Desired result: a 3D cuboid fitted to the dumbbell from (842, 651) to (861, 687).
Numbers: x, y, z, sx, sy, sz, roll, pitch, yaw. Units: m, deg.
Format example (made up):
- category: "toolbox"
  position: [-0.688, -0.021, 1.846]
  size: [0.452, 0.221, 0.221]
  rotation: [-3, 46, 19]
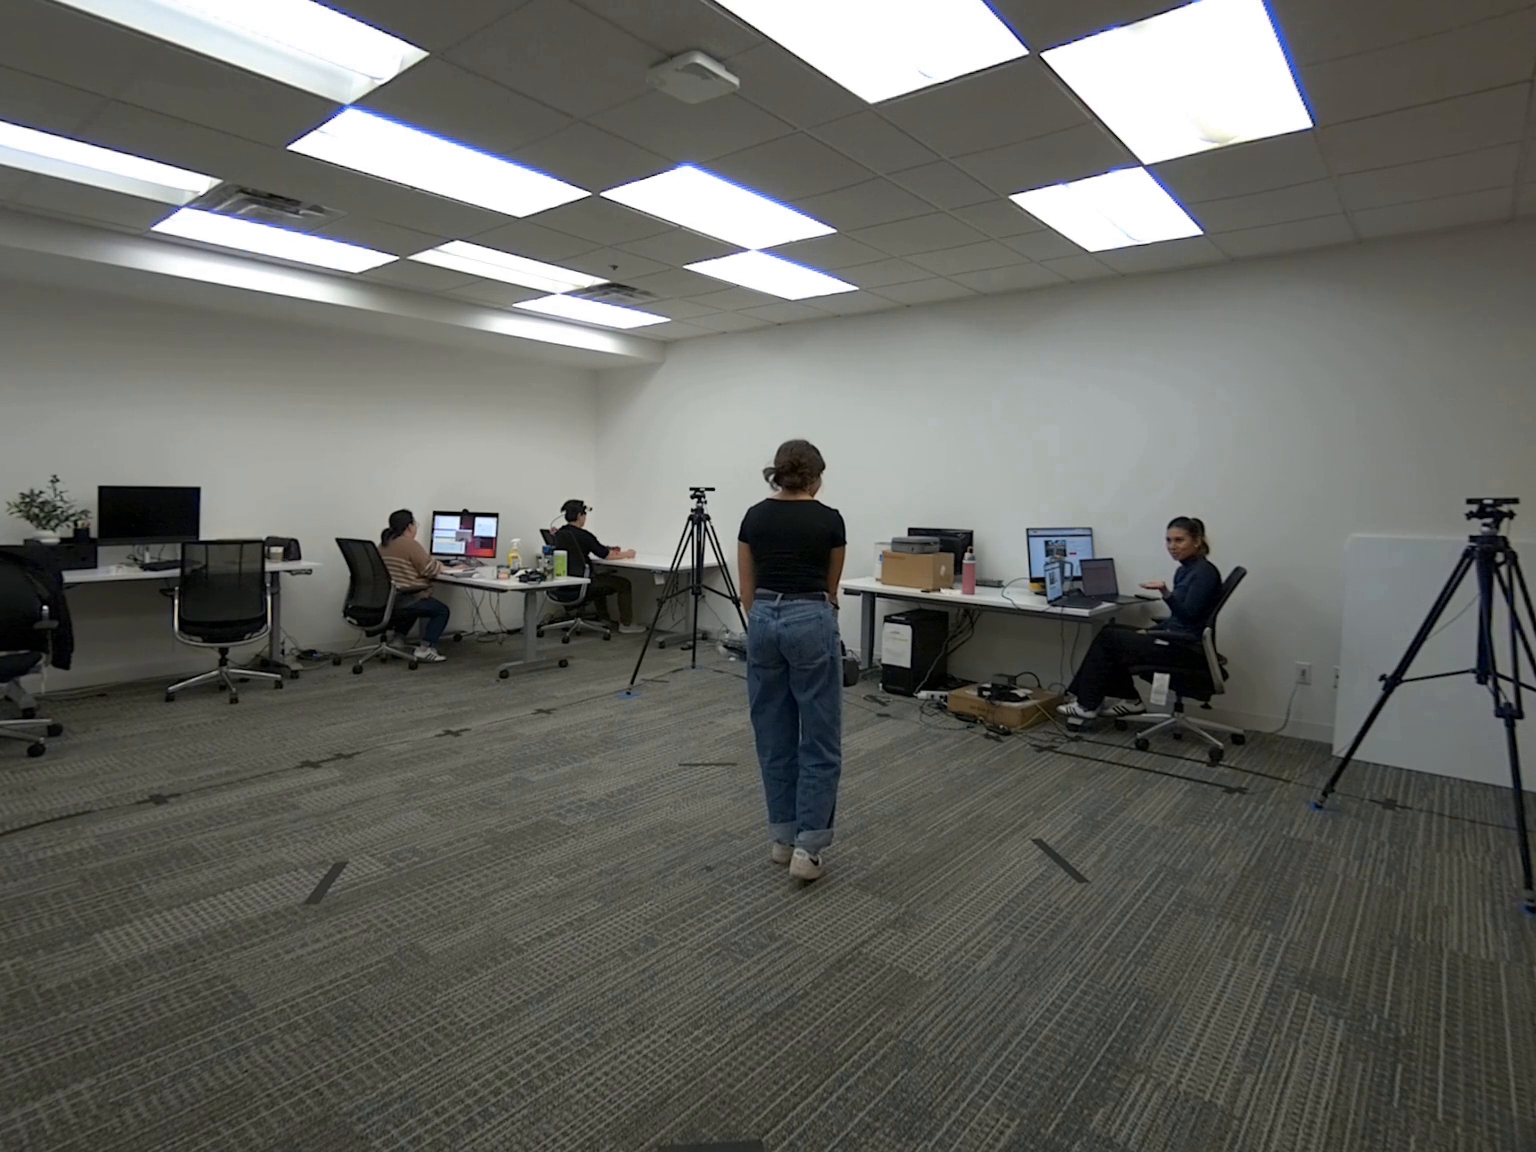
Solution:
- category: "dumbbell"
  position: [0.193, 0.366, 3.277]
  size: [0.302, 0.124, 0.104]
  rotation: [-3, -32, 40]
